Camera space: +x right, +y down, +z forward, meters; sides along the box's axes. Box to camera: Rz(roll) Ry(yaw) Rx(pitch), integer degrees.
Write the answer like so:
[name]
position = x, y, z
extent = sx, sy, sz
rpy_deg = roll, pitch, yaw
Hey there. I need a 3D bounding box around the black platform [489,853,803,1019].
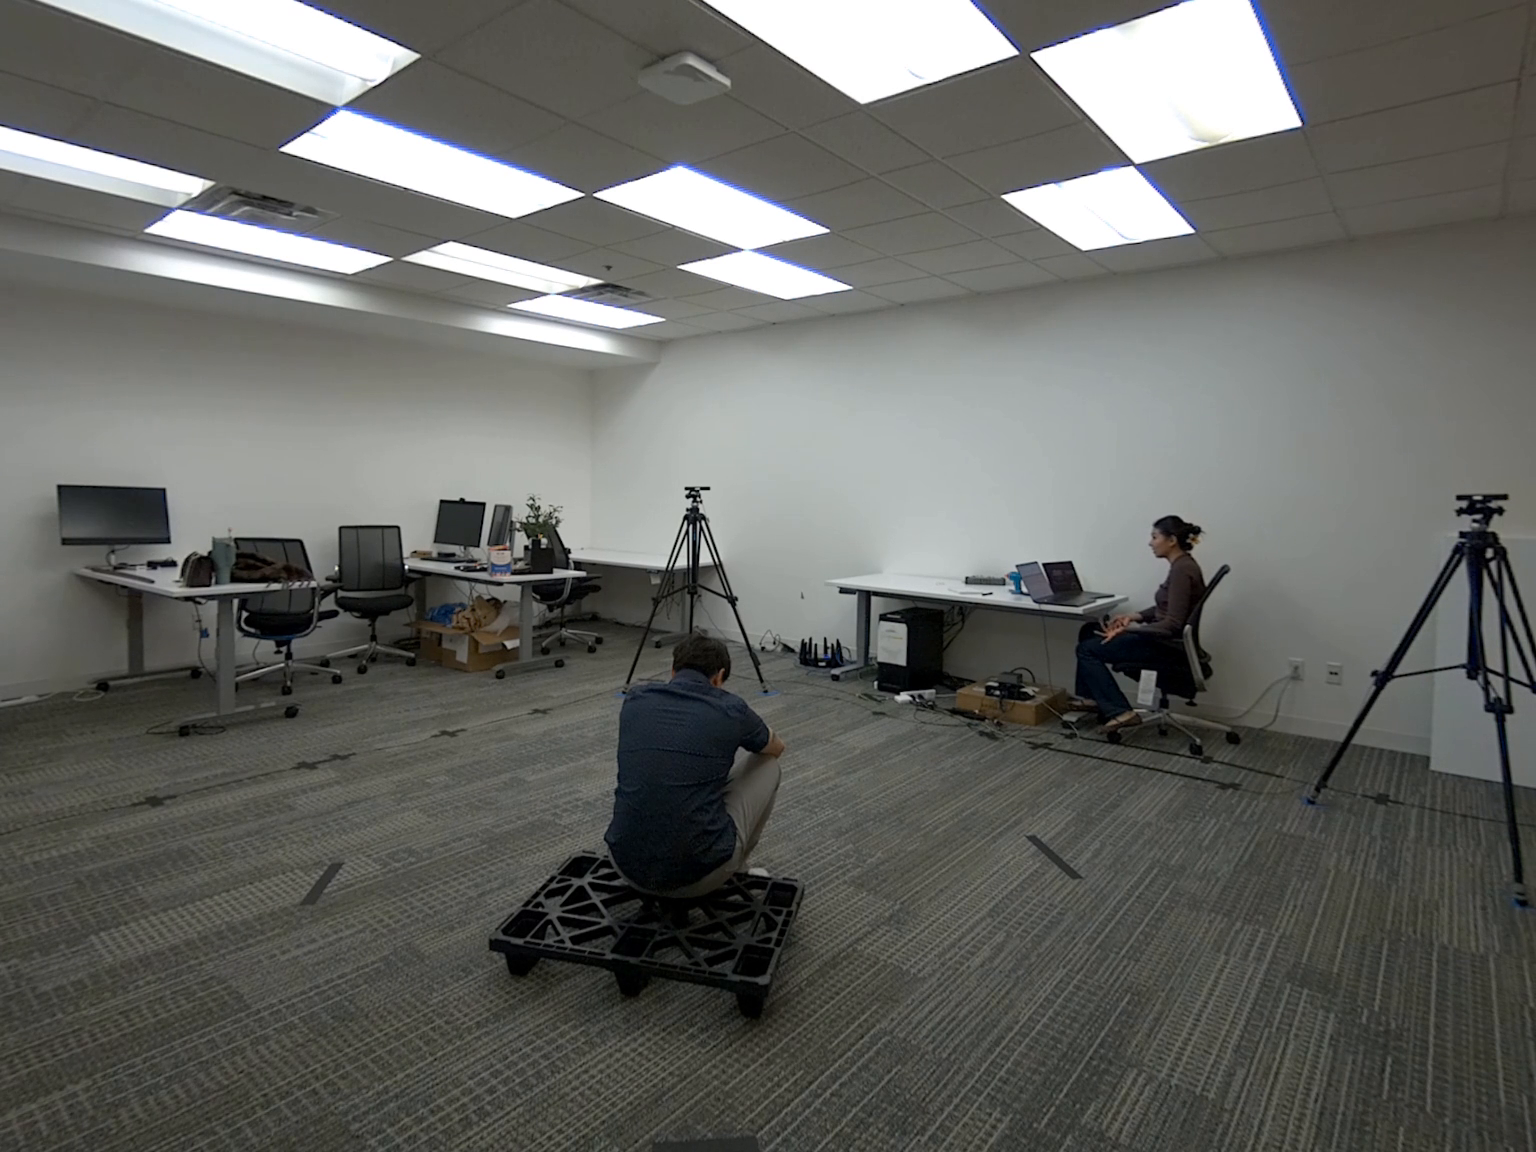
[black platform]
position = -0.344, 1.053, 2.547
extent = 0.818, 0.143, 0.598
rpy_deg = 2, 5, 13
